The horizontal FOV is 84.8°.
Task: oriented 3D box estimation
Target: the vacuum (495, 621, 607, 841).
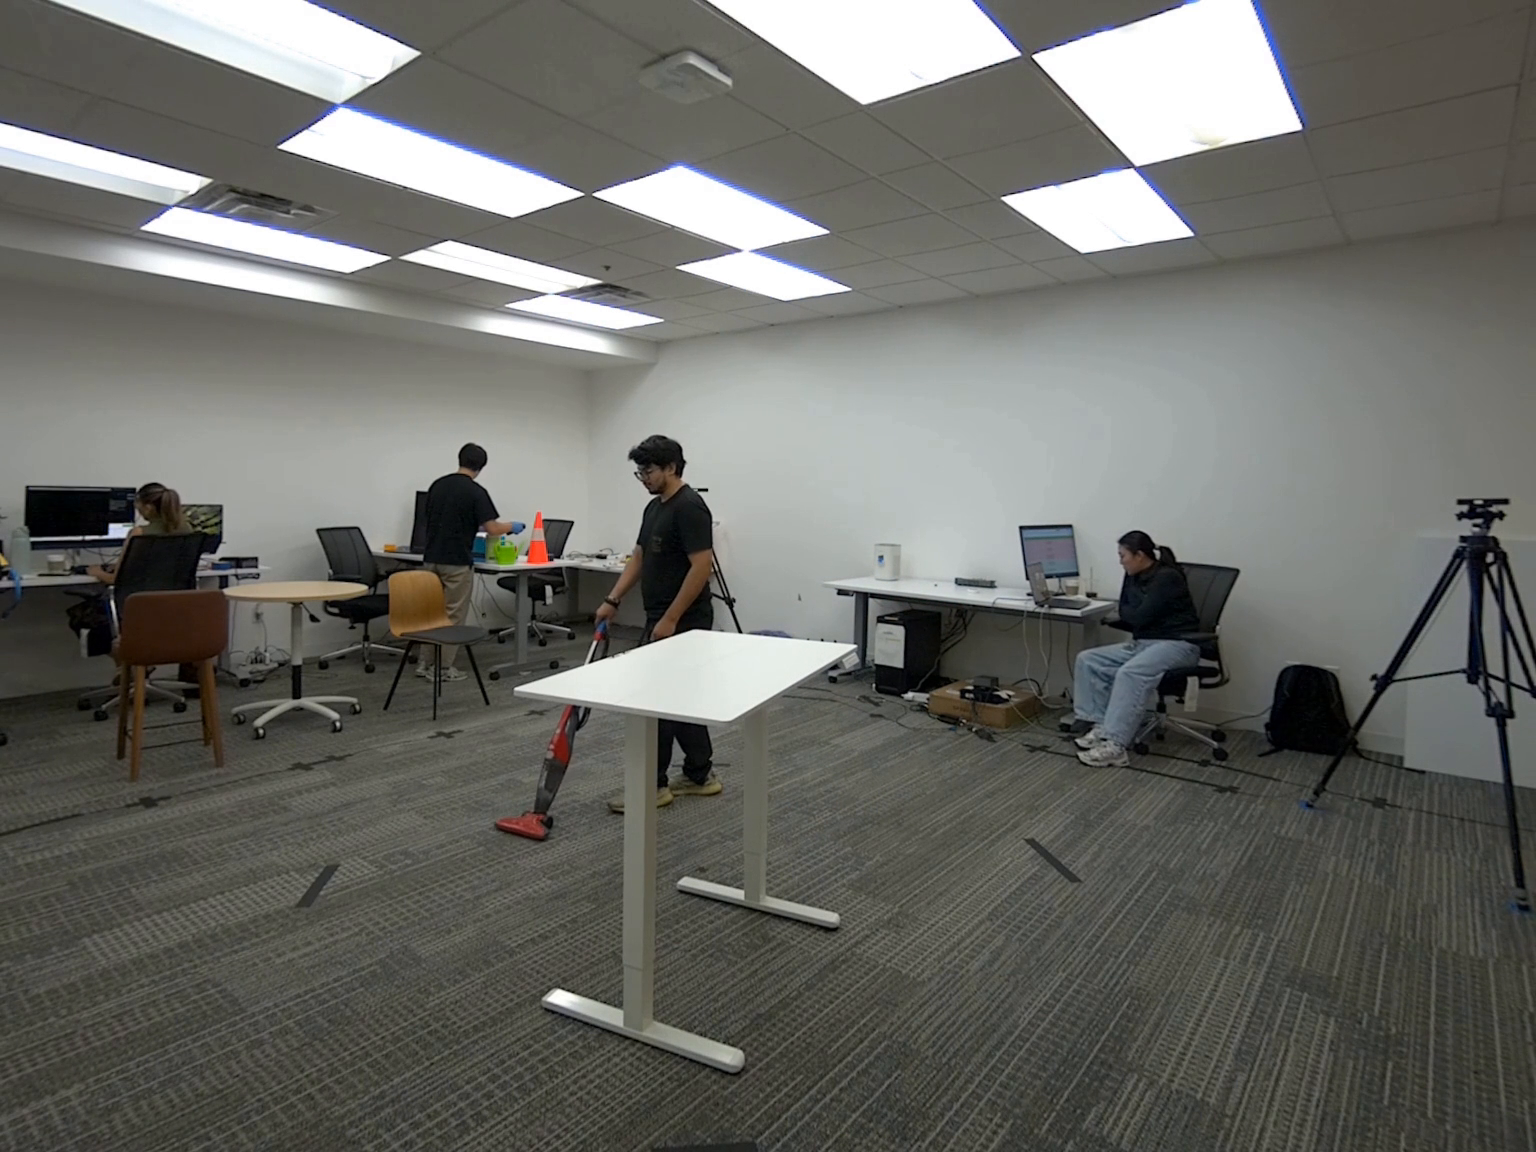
[{"bbox_3d":[-0.846,0.572,3.671,0.259,1.065,0.138,1,-31,27],"label":"vacuum"}]
